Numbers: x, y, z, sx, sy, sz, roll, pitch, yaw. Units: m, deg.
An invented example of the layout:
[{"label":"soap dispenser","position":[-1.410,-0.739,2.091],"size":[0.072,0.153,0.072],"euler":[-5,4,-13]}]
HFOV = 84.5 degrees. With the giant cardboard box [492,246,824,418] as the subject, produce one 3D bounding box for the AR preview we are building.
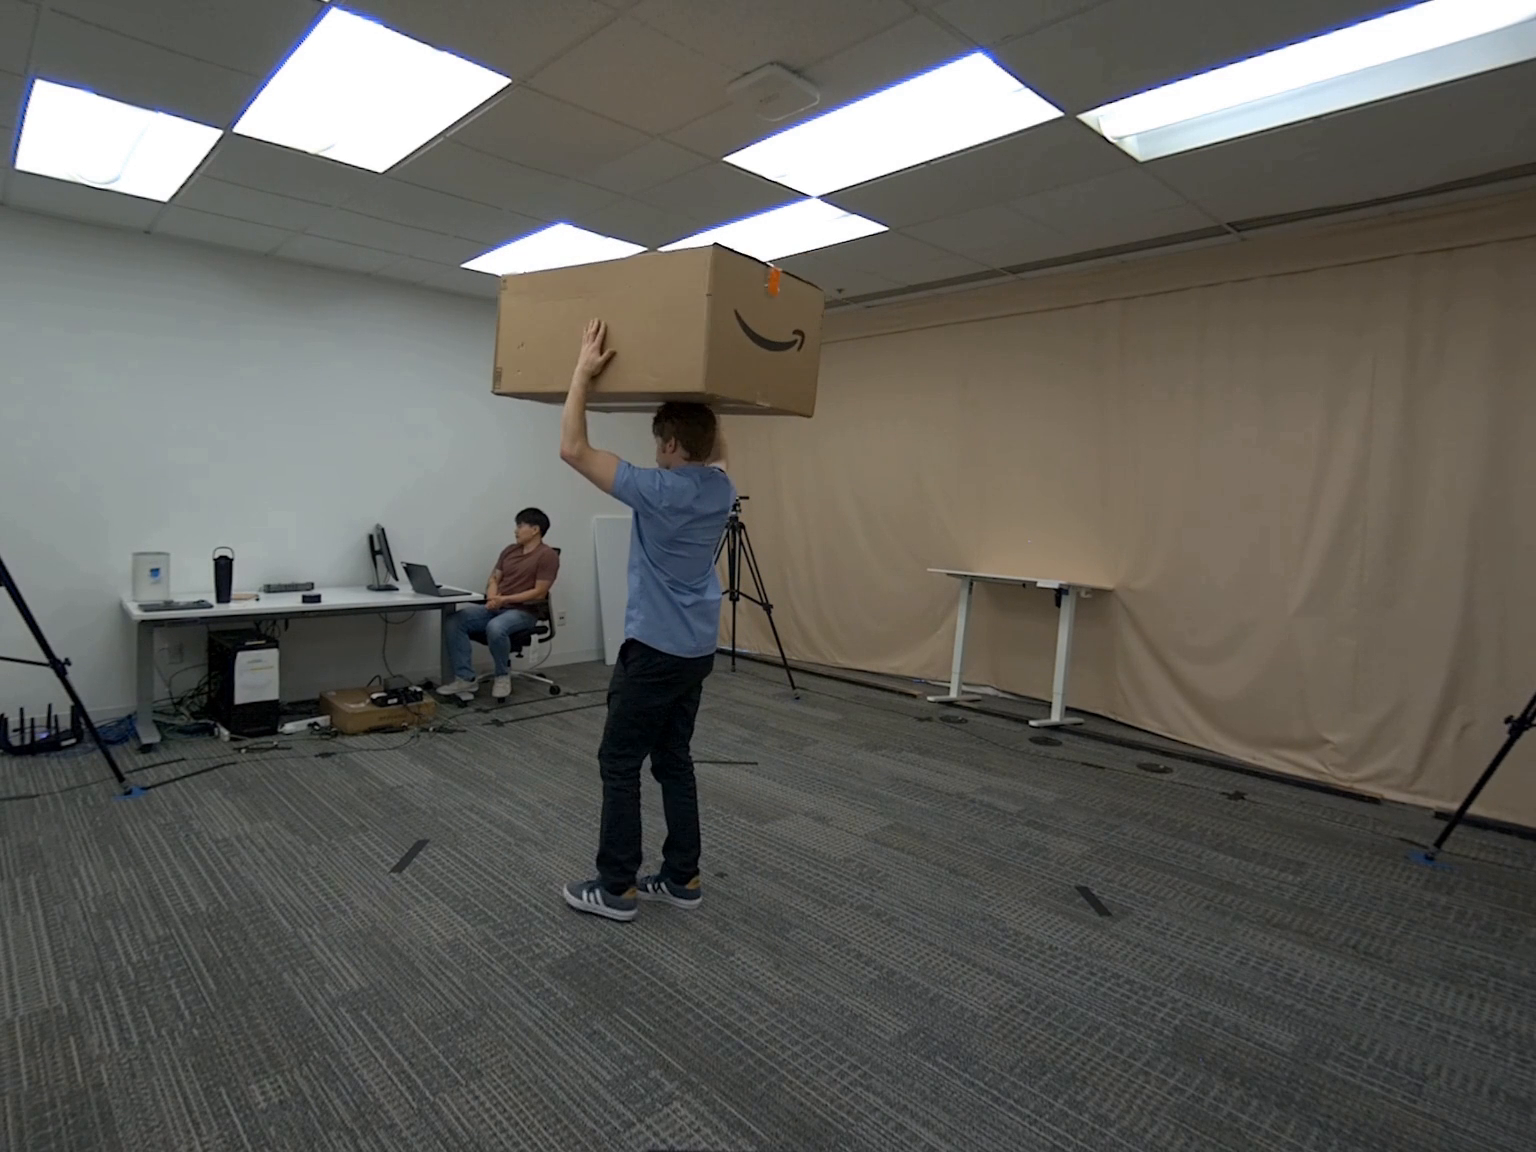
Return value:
[{"label":"giant cardboard box","position":[-0.404,-0.803,2.903],"size":[1.053,0.425,0.564],"euler":[9,6,38]}]
